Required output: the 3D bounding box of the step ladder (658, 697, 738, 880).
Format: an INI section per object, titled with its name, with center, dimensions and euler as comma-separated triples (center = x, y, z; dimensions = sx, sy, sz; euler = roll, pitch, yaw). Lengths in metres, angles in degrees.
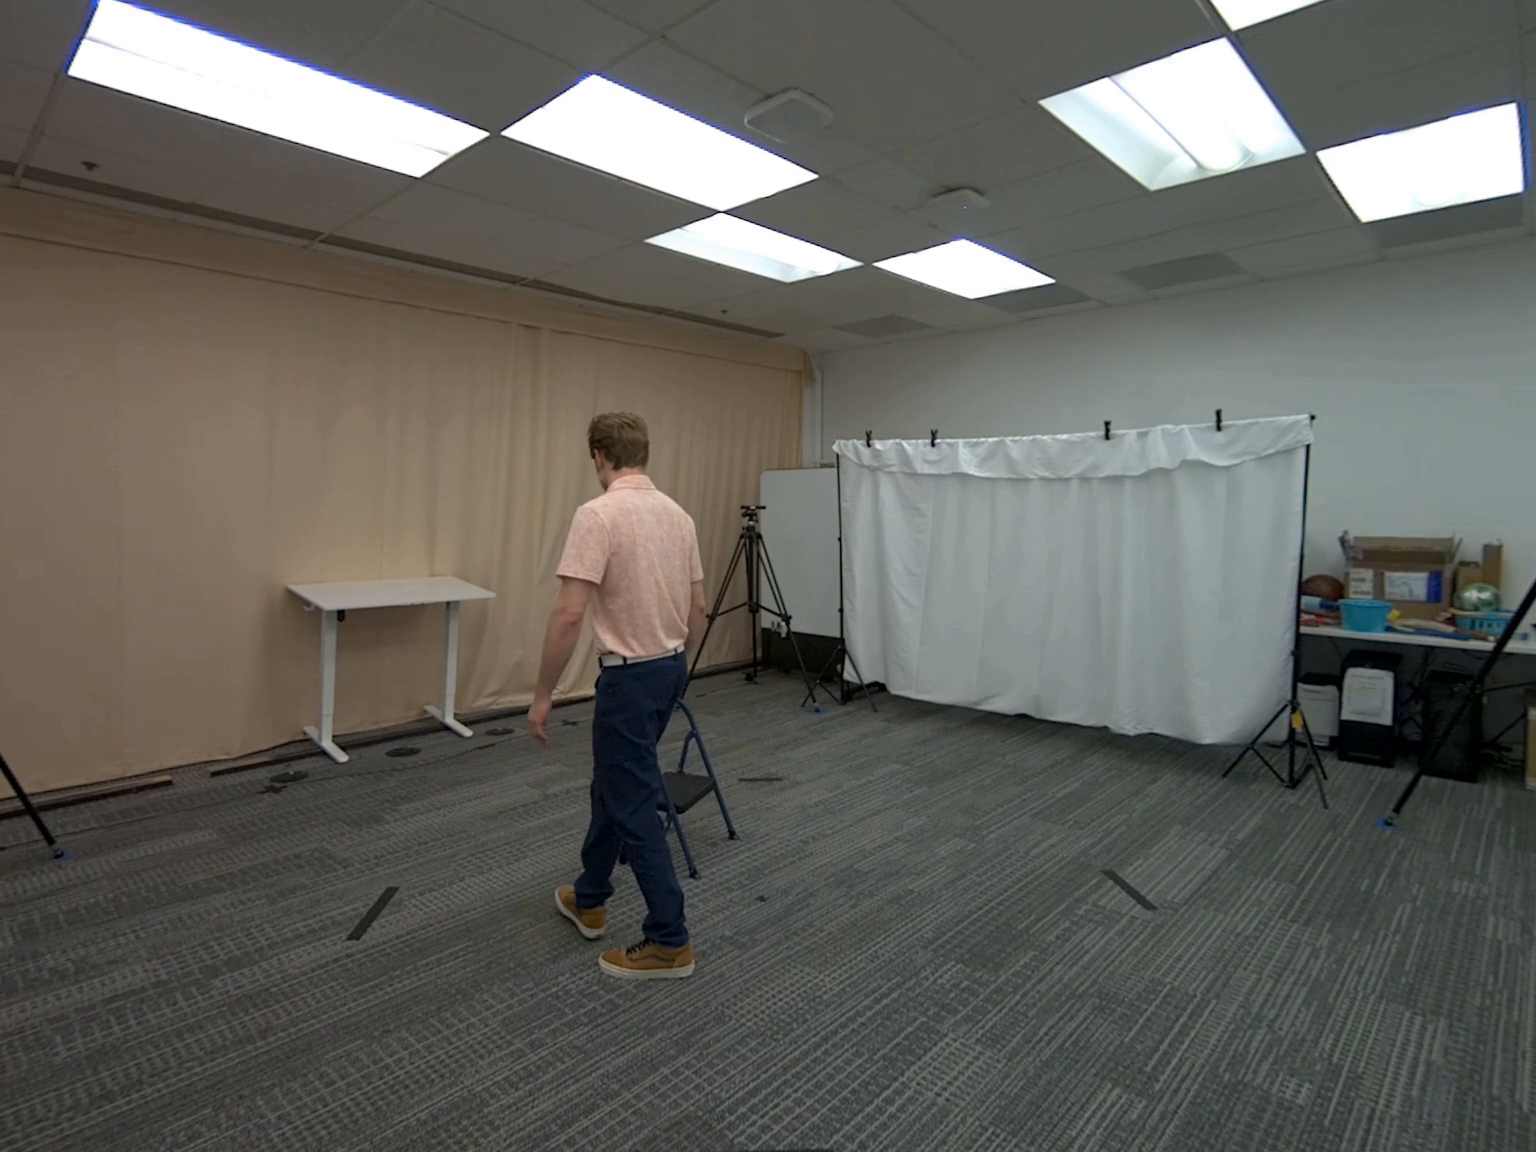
[step ladder]
center = -0.353, 0.811, 3.391
dimensions = 0.357, 0.605, 0.422
euler = 1, 4, 20
